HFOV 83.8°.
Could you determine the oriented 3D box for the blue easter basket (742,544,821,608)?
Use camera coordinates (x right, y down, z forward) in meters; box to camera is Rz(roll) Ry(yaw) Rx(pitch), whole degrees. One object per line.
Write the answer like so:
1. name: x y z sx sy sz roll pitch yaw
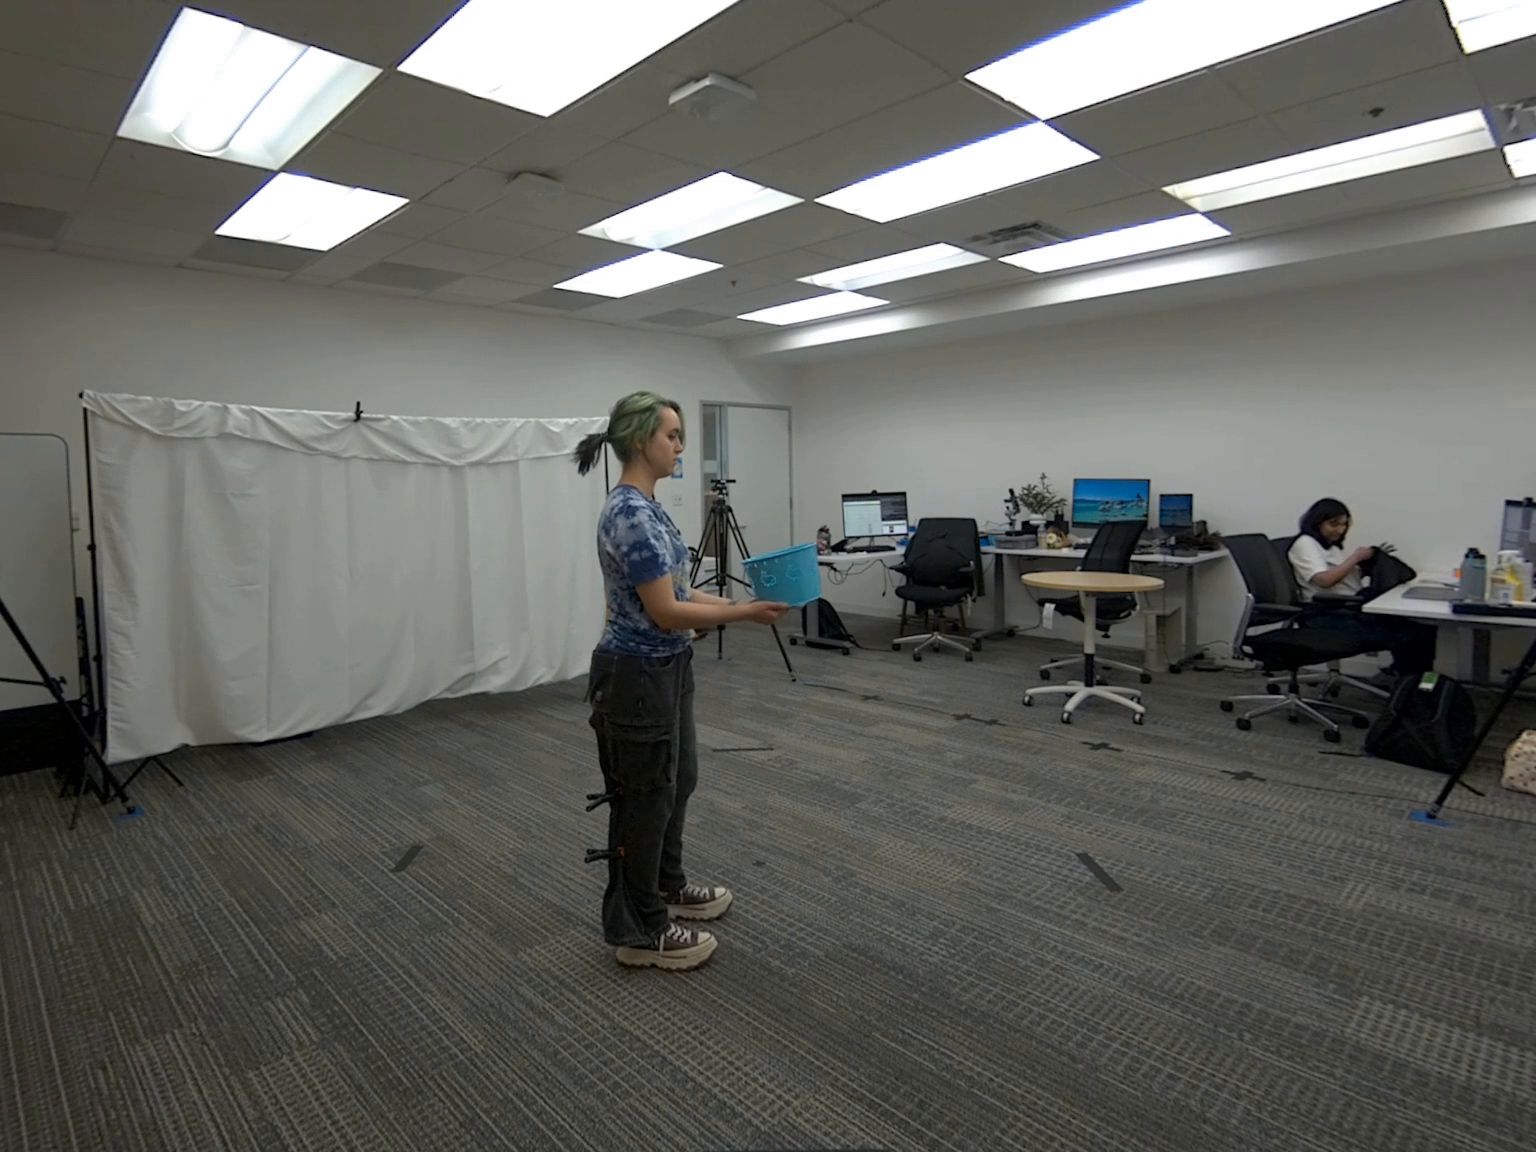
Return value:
1. blue easter basket: 0.026 0.008 2.485 0.243 0.155 0.244 -13 3 -1
